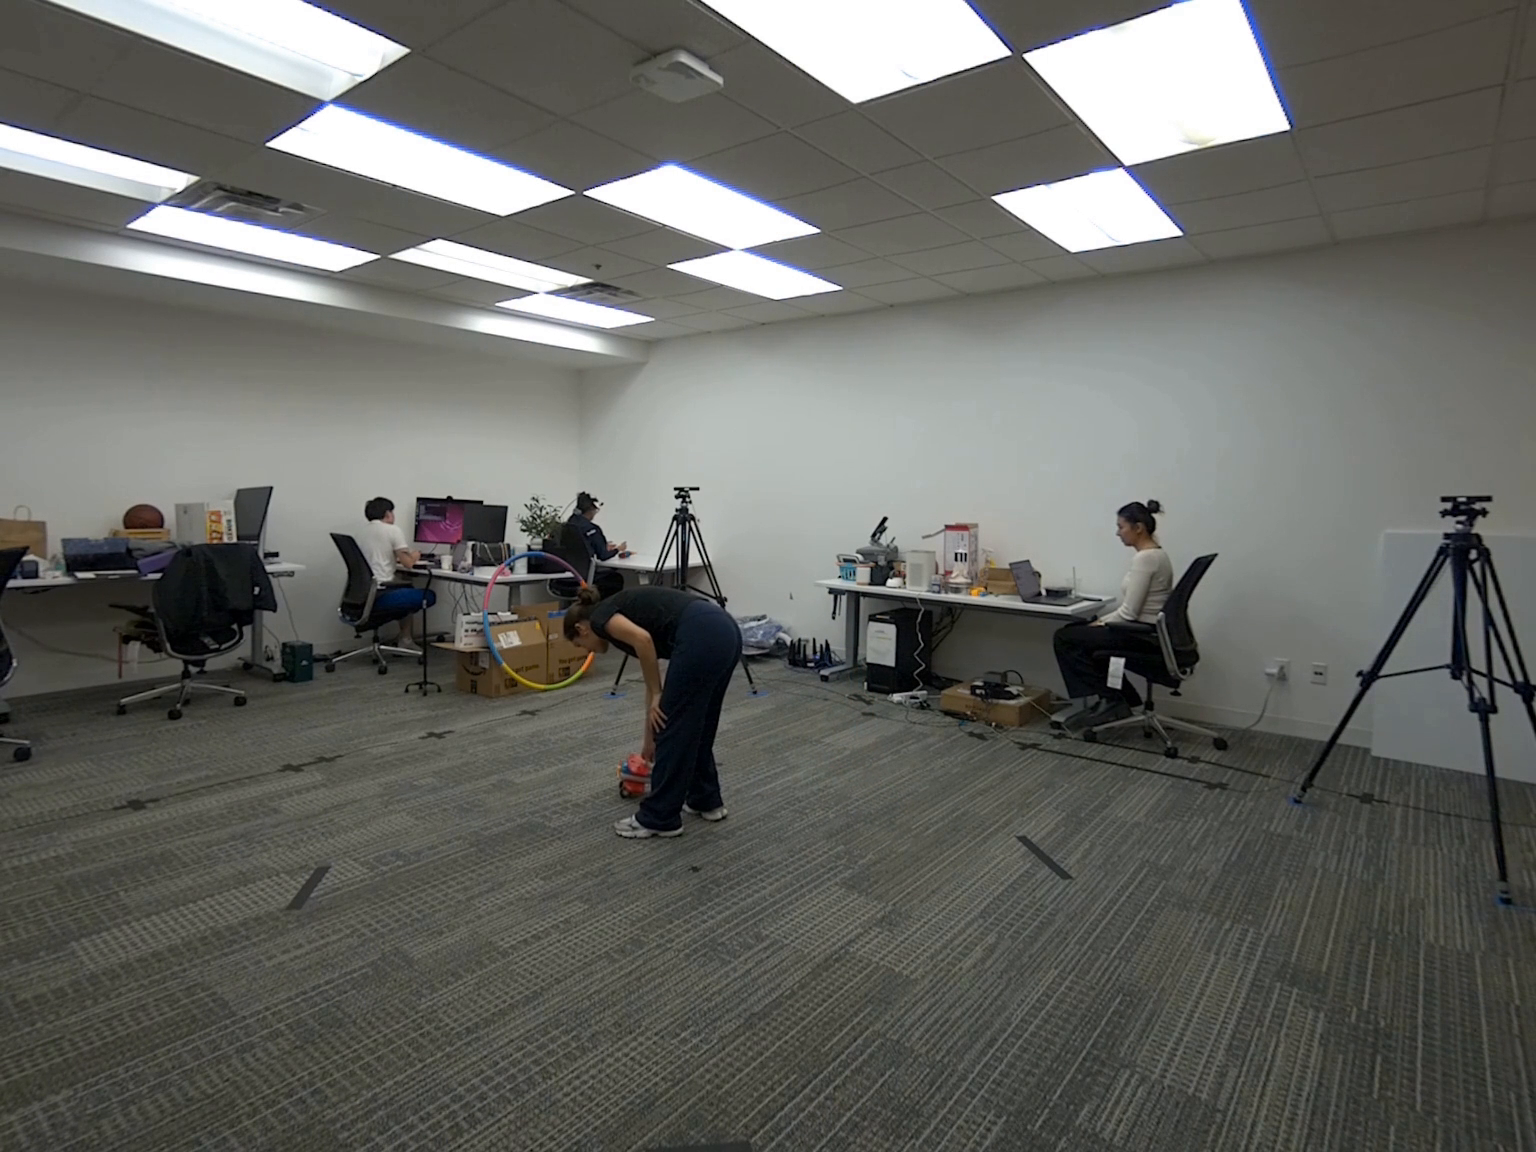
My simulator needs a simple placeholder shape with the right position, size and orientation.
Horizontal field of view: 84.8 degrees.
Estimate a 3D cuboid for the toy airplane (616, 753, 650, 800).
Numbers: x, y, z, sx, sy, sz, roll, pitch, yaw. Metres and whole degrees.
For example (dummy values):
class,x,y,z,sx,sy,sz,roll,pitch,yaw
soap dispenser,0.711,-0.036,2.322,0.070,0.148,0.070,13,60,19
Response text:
class,x,y,z,sx,sy,sz,roll,pitch,yaw
toy airplane,-0.550,0.910,3.898,0.252,0.156,0.259,-6,8,-37
